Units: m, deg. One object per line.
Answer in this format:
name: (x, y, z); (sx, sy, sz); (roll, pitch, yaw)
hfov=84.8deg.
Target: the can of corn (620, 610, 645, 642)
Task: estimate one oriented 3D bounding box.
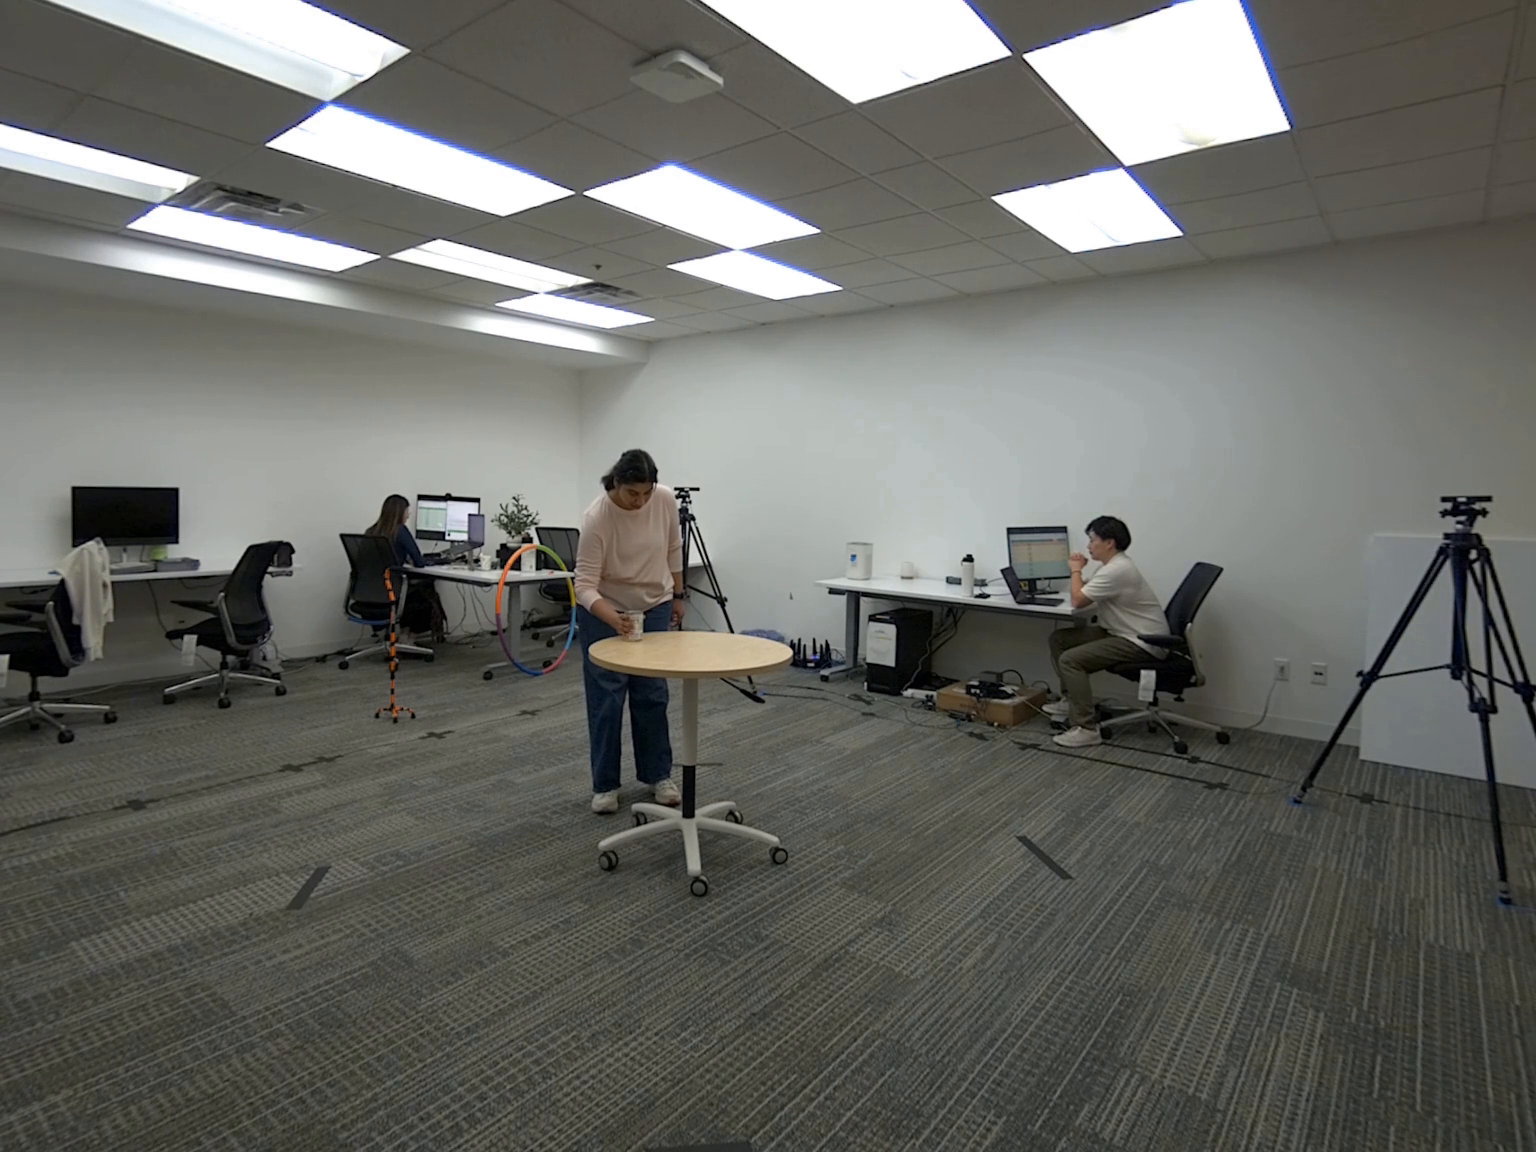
can of corn: (-0.541, 0.195, 3.358); (0.074, 0.111, 0.074); (1, 2, -2)
